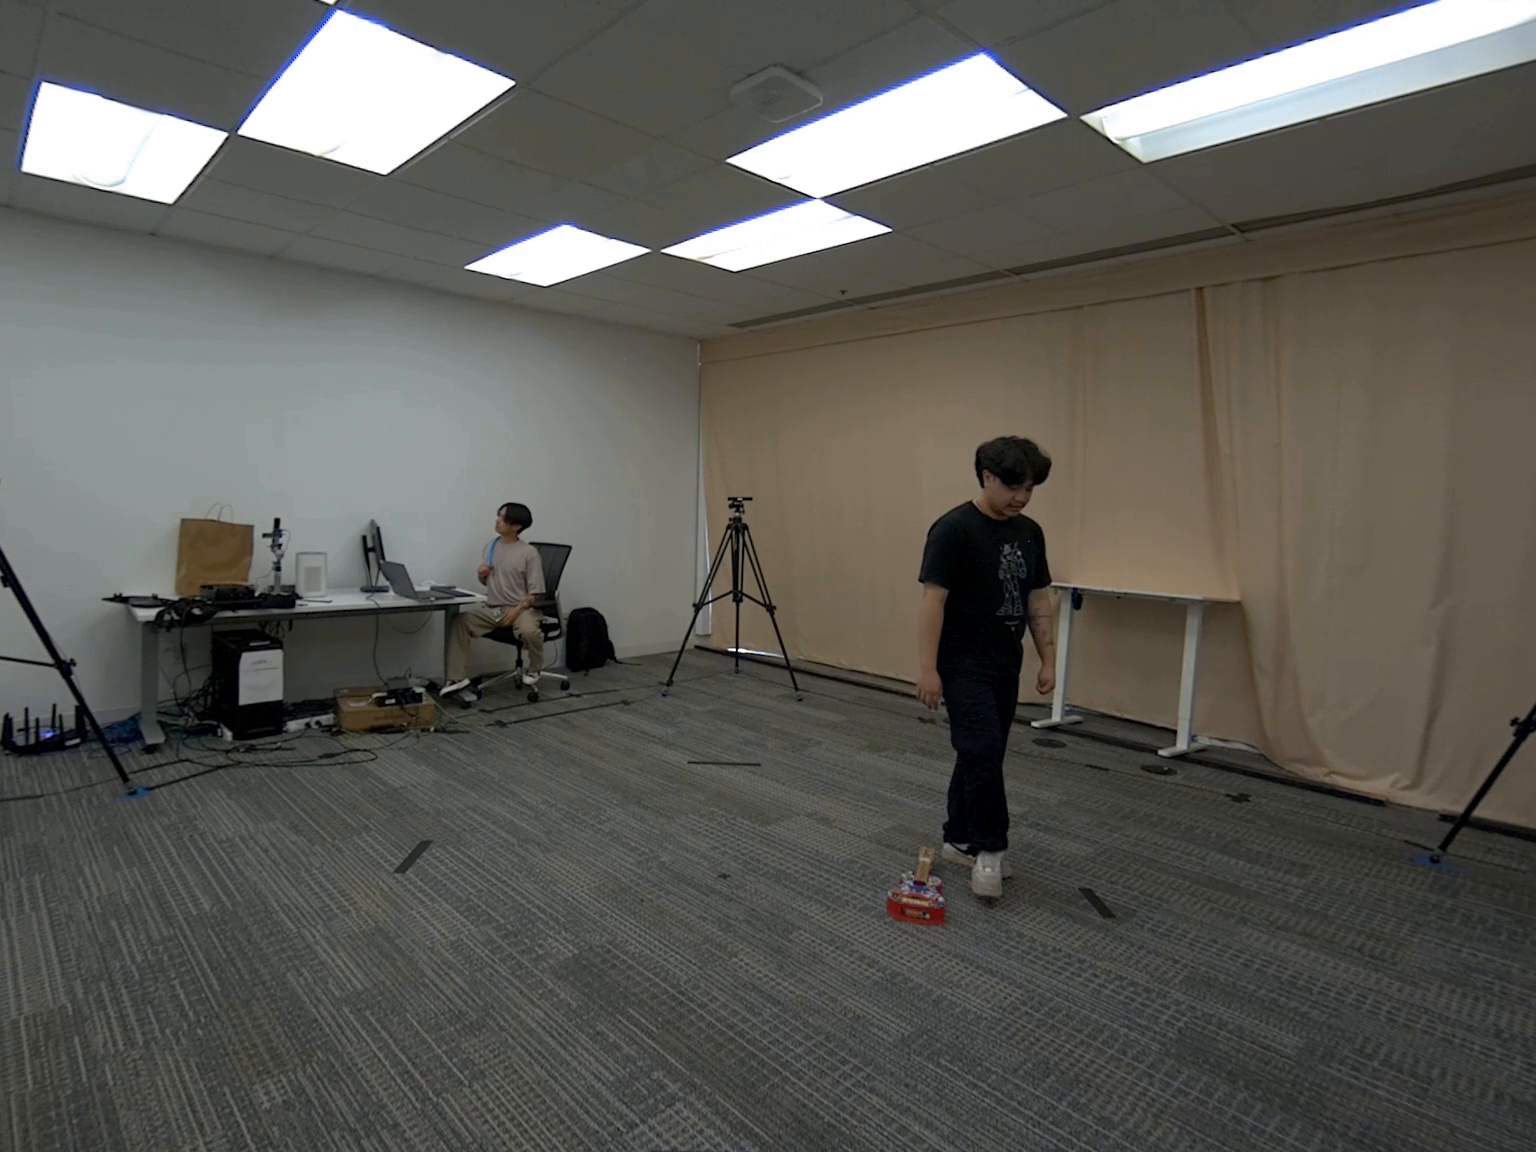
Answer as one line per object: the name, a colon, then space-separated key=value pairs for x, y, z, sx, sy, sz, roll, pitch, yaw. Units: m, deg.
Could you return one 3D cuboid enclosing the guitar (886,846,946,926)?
guitar: x=0.573 y=1.099 z=3.010 sx=0.197 sy=0.070 sz=0.489 roll=4 pitch=6 yaw=25
